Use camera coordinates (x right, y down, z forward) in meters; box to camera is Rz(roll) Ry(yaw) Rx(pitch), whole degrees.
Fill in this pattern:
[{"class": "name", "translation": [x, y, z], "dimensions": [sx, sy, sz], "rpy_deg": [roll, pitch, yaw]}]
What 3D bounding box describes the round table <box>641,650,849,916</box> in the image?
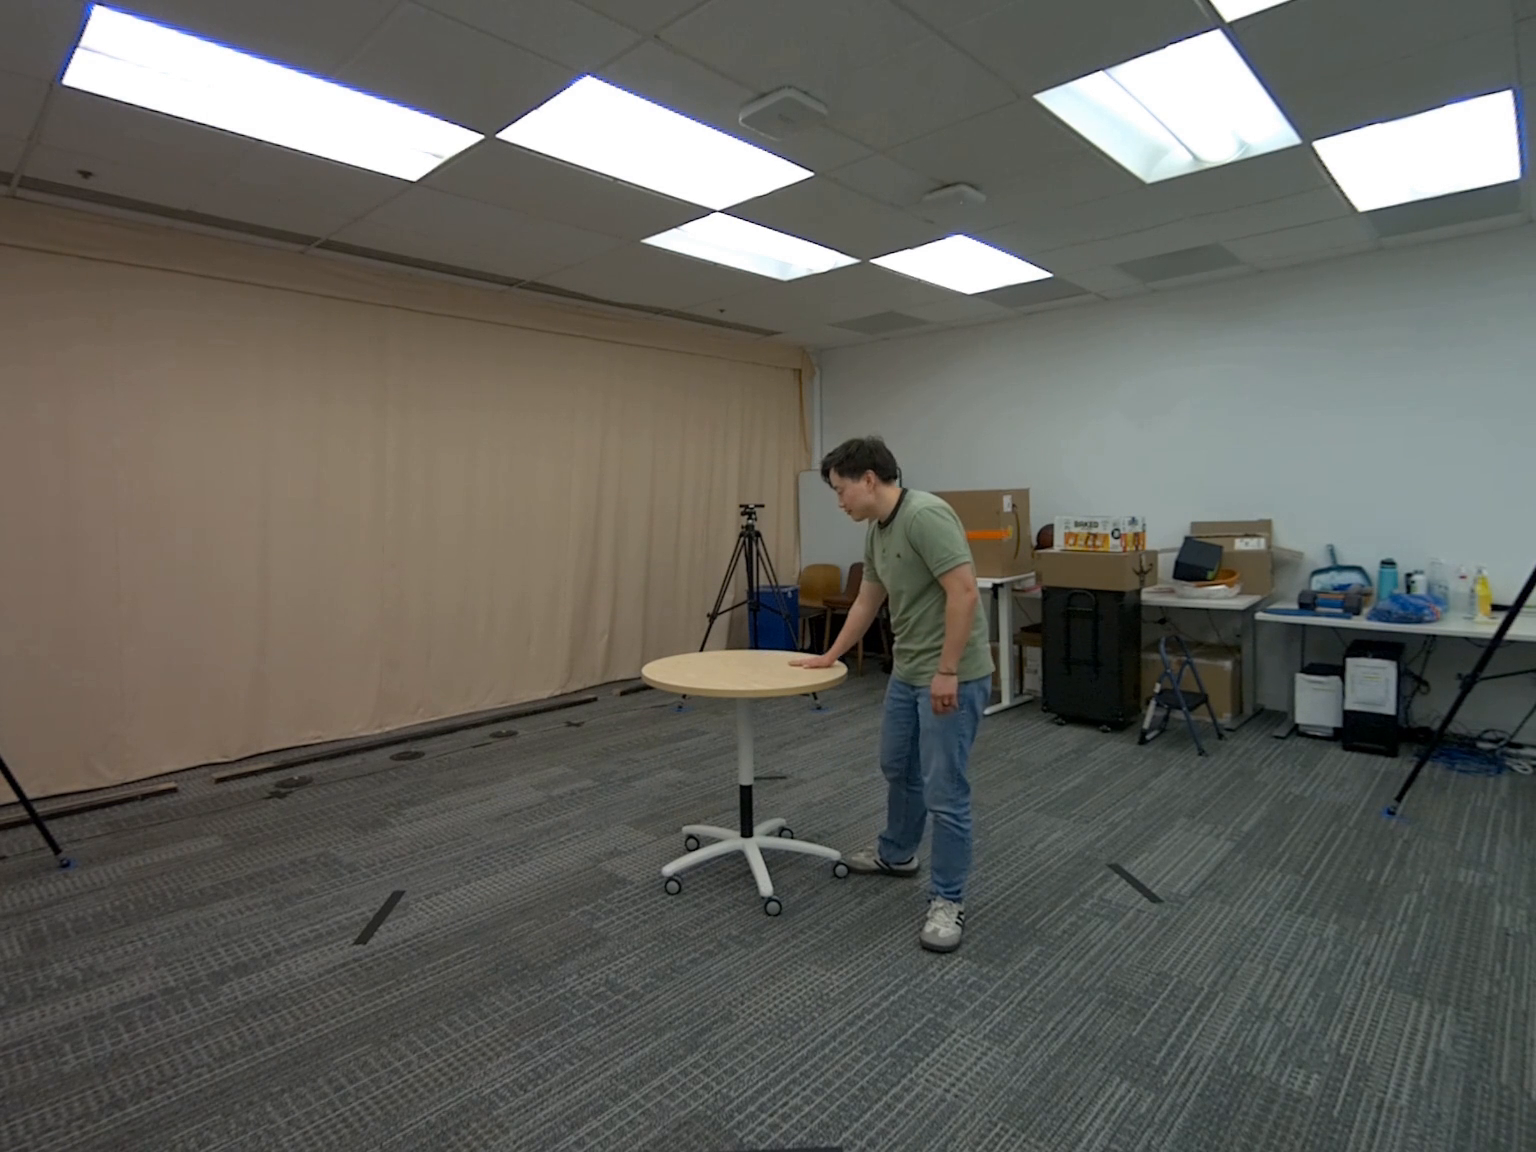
[{"class": "round table", "translation": [-0.082, 0.736, 3.171], "dimensions": [0.763, 0.792, 0.767], "rpy_deg": [-1, 4, -2]}]
